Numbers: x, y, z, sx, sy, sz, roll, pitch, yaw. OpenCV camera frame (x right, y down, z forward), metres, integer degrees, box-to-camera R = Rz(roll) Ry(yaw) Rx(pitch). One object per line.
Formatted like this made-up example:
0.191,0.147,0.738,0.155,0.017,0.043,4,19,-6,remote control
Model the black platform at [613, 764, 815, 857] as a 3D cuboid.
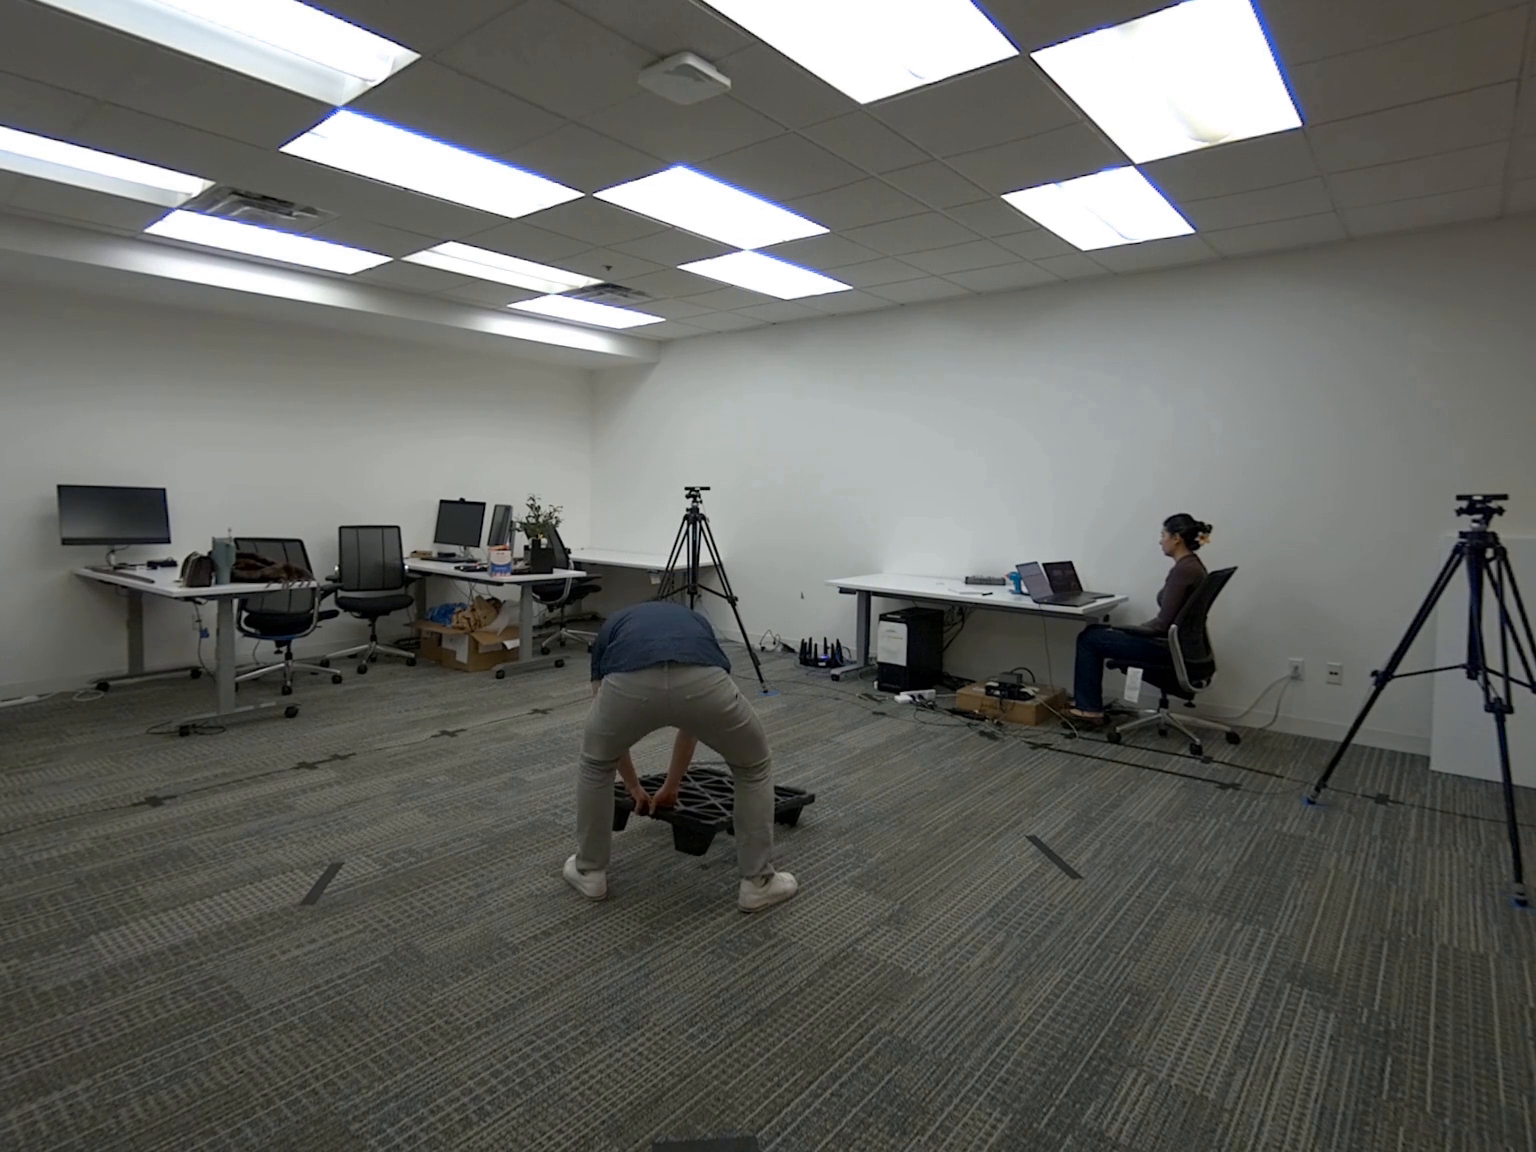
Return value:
-0.273,0.917,3.375,0.624,0.144,0.778,4,-3,32,black platform
